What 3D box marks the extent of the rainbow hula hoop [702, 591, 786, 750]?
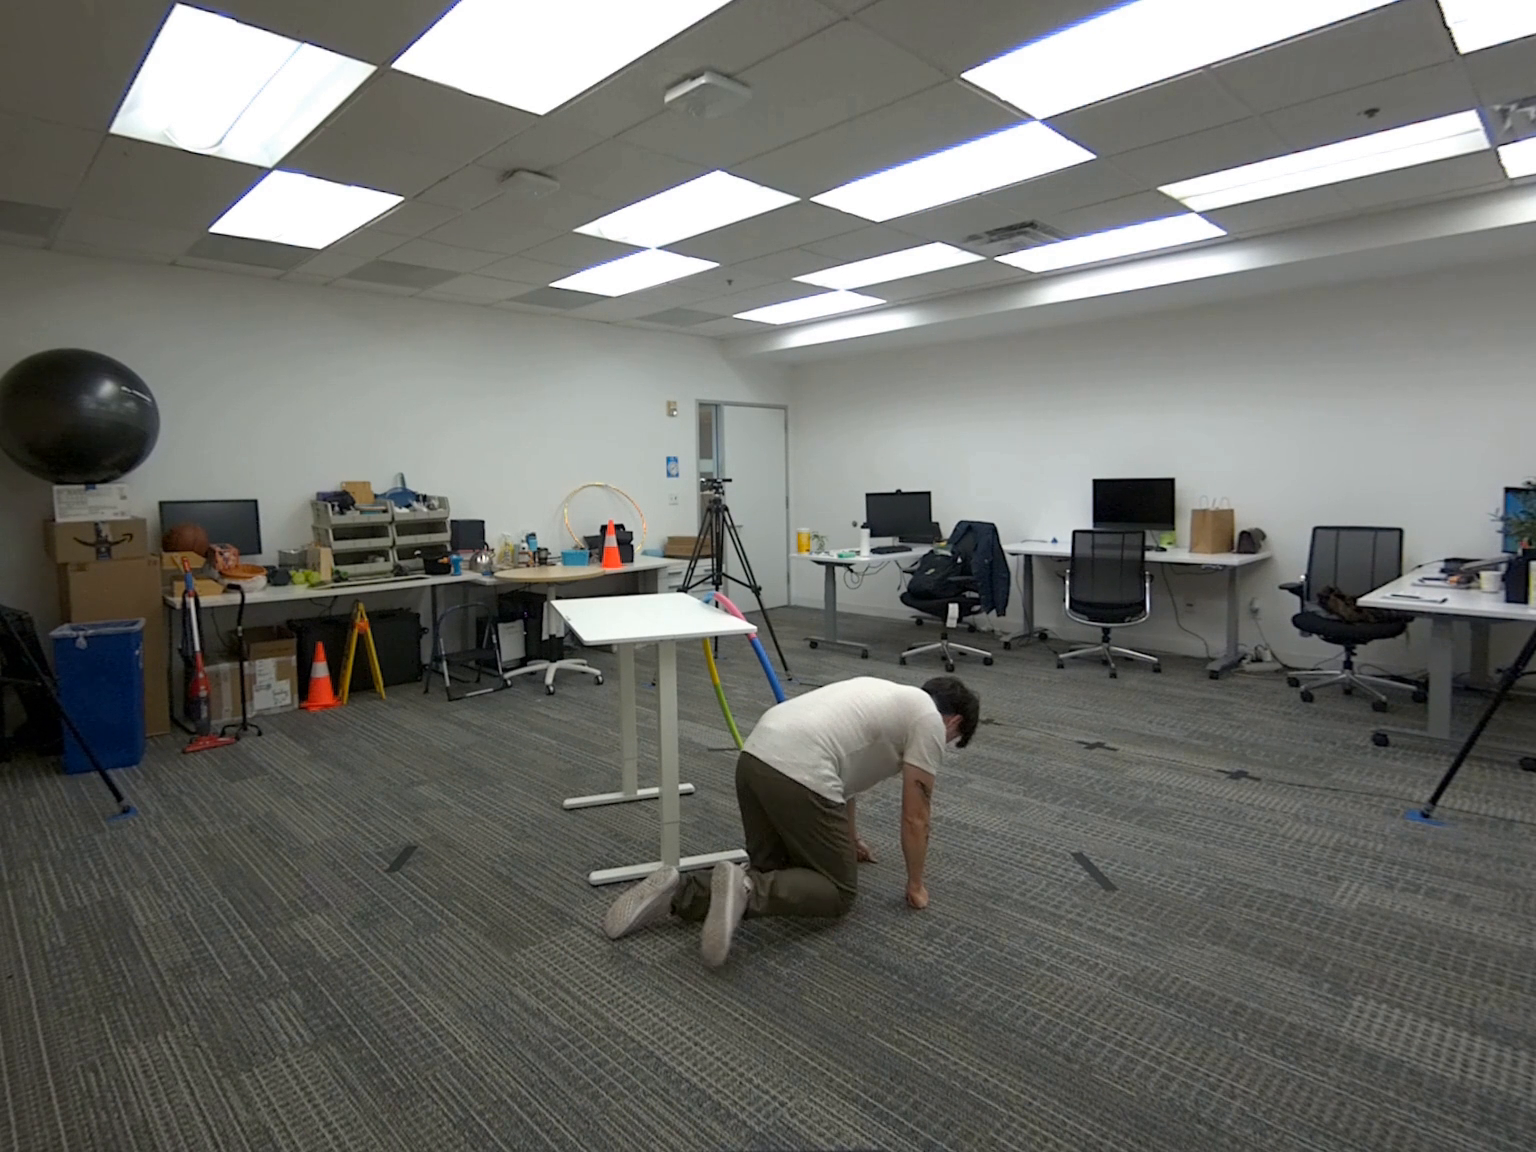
[{"bbox_3d":[-0.065,0.531,3.502,0.035,0.969,0.999,-19,10,-18],"label":"rainbow hula hoop"}]
